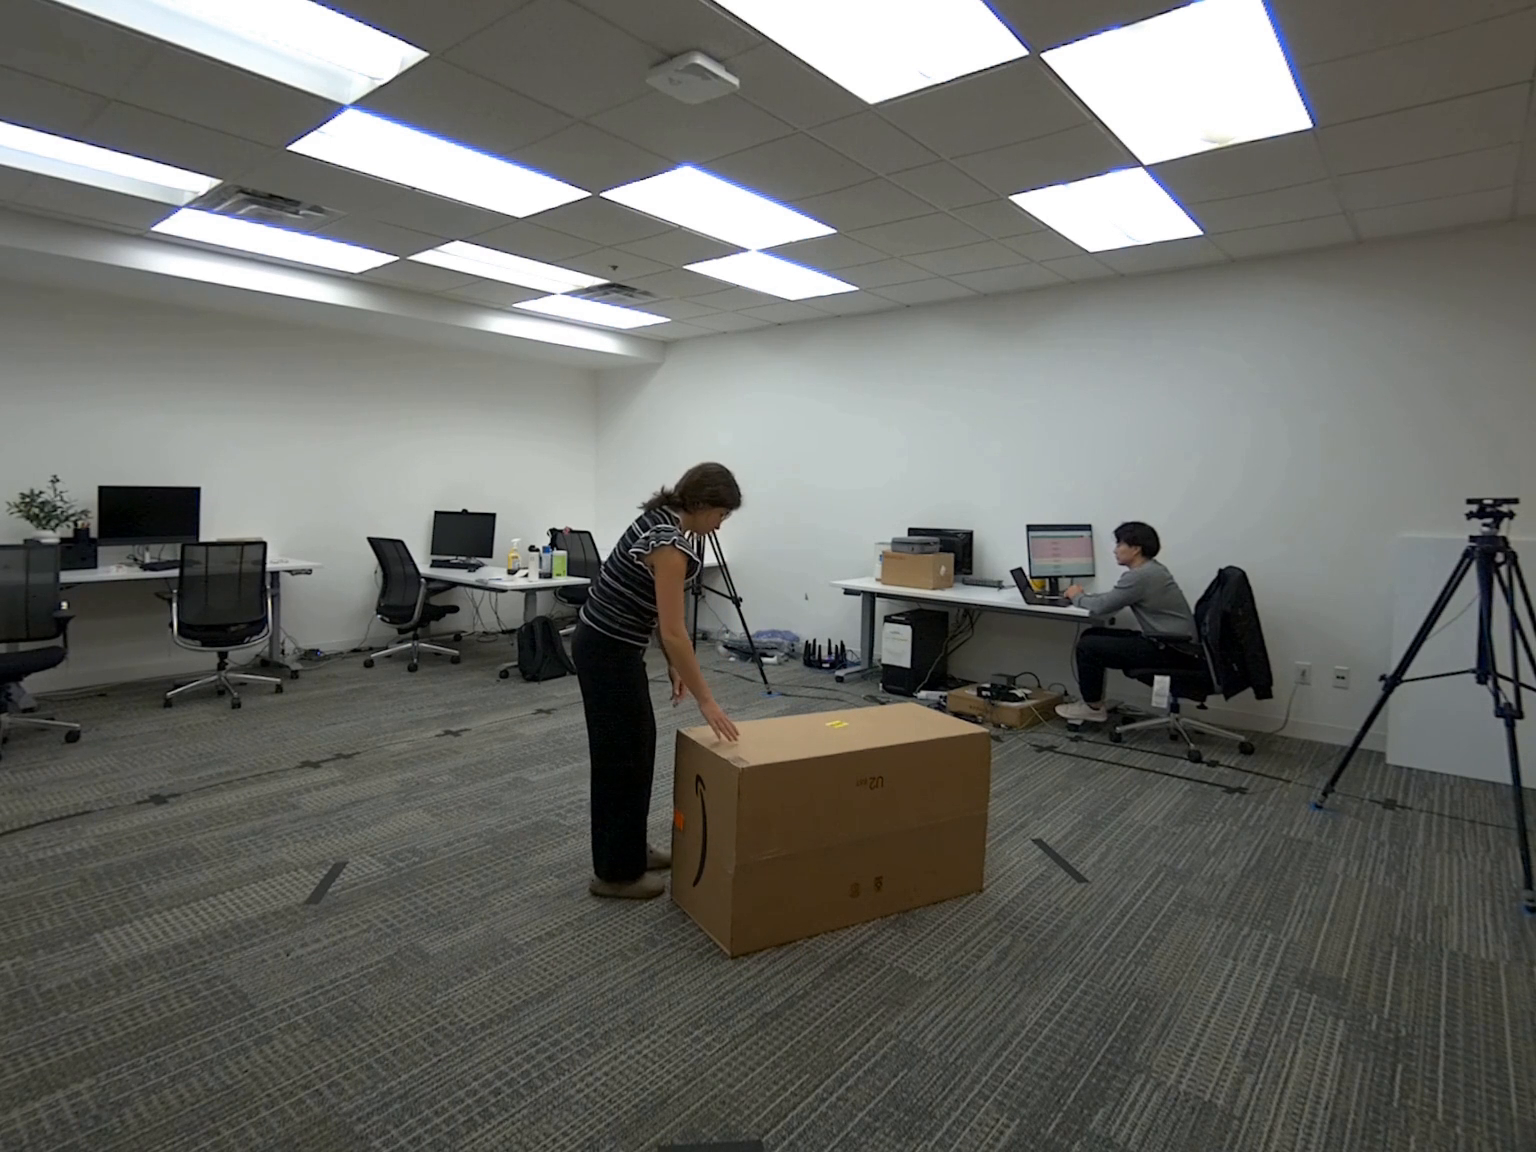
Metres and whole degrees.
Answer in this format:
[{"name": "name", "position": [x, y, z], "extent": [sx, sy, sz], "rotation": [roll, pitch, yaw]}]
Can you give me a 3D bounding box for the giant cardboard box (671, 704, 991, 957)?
[{"name": "giant cardboard box", "position": [0.220, 0.804, 2.919], "extent": [0.999, 0.576, 0.439], "rotation": [-1, 4, -29]}]
